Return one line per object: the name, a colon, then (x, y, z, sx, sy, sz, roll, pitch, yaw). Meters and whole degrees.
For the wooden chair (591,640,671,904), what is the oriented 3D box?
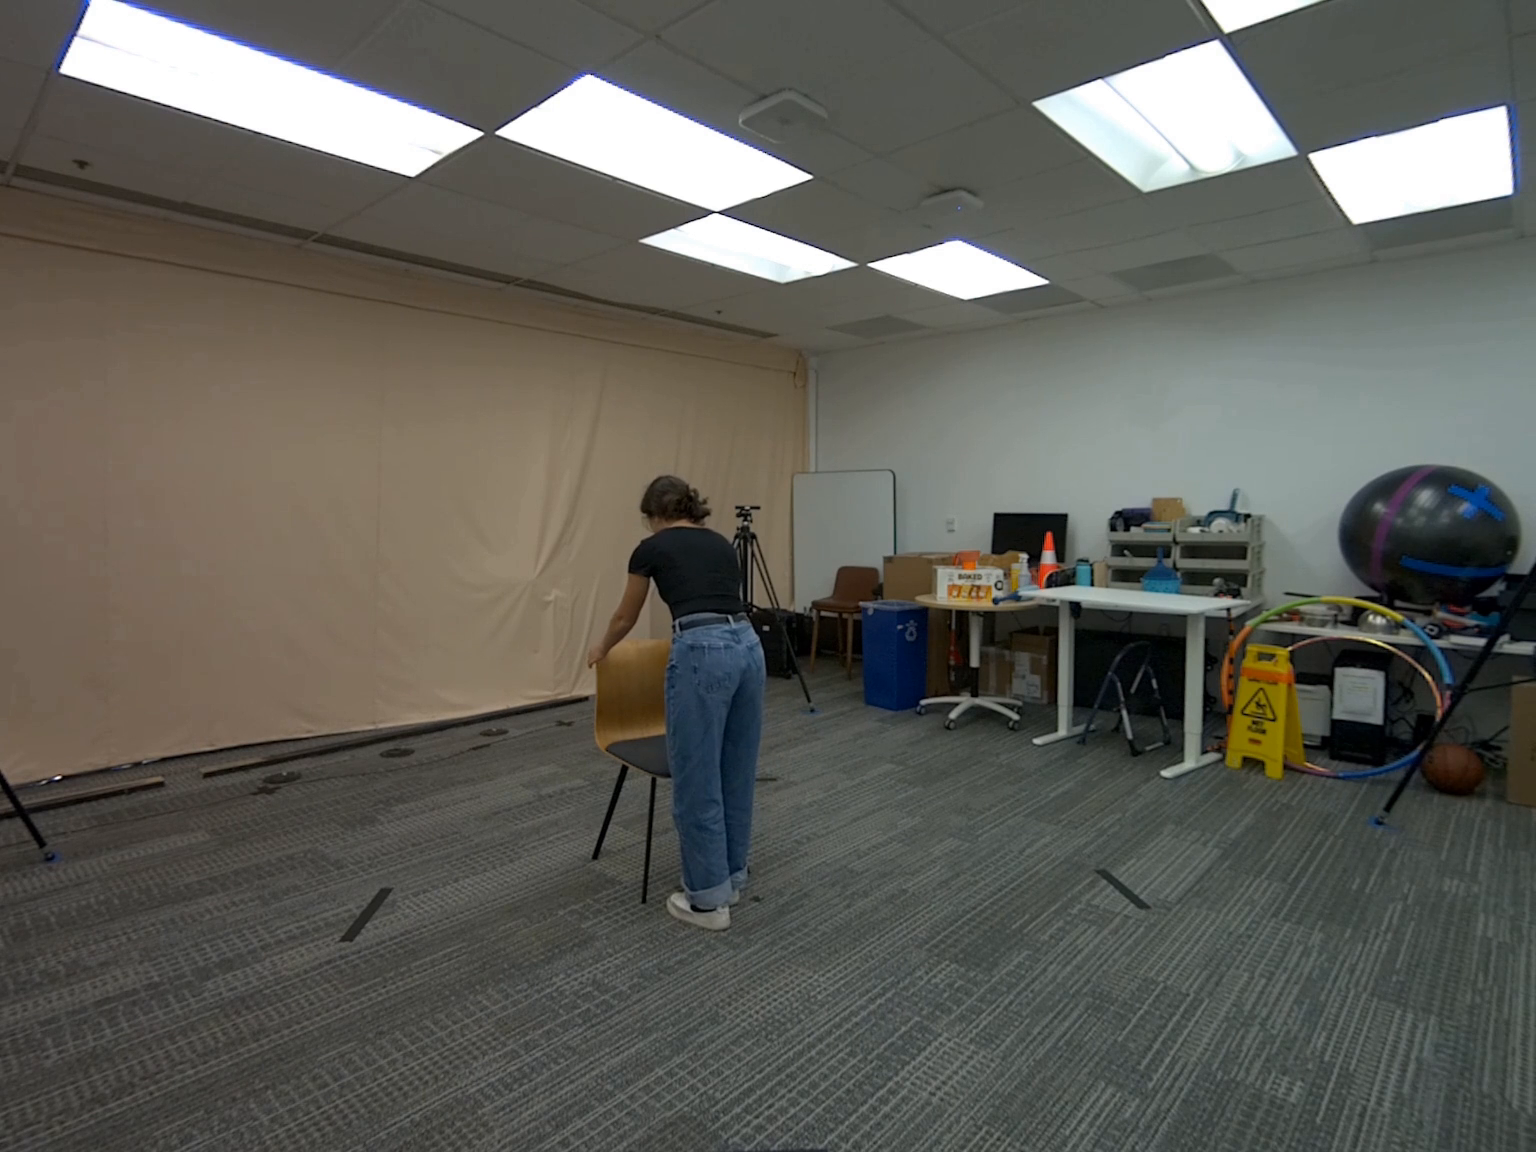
wooden chair: (-0.378, 0.699, 3.226, 0.464, 0.878, 0.538, -2, -1, -34)
